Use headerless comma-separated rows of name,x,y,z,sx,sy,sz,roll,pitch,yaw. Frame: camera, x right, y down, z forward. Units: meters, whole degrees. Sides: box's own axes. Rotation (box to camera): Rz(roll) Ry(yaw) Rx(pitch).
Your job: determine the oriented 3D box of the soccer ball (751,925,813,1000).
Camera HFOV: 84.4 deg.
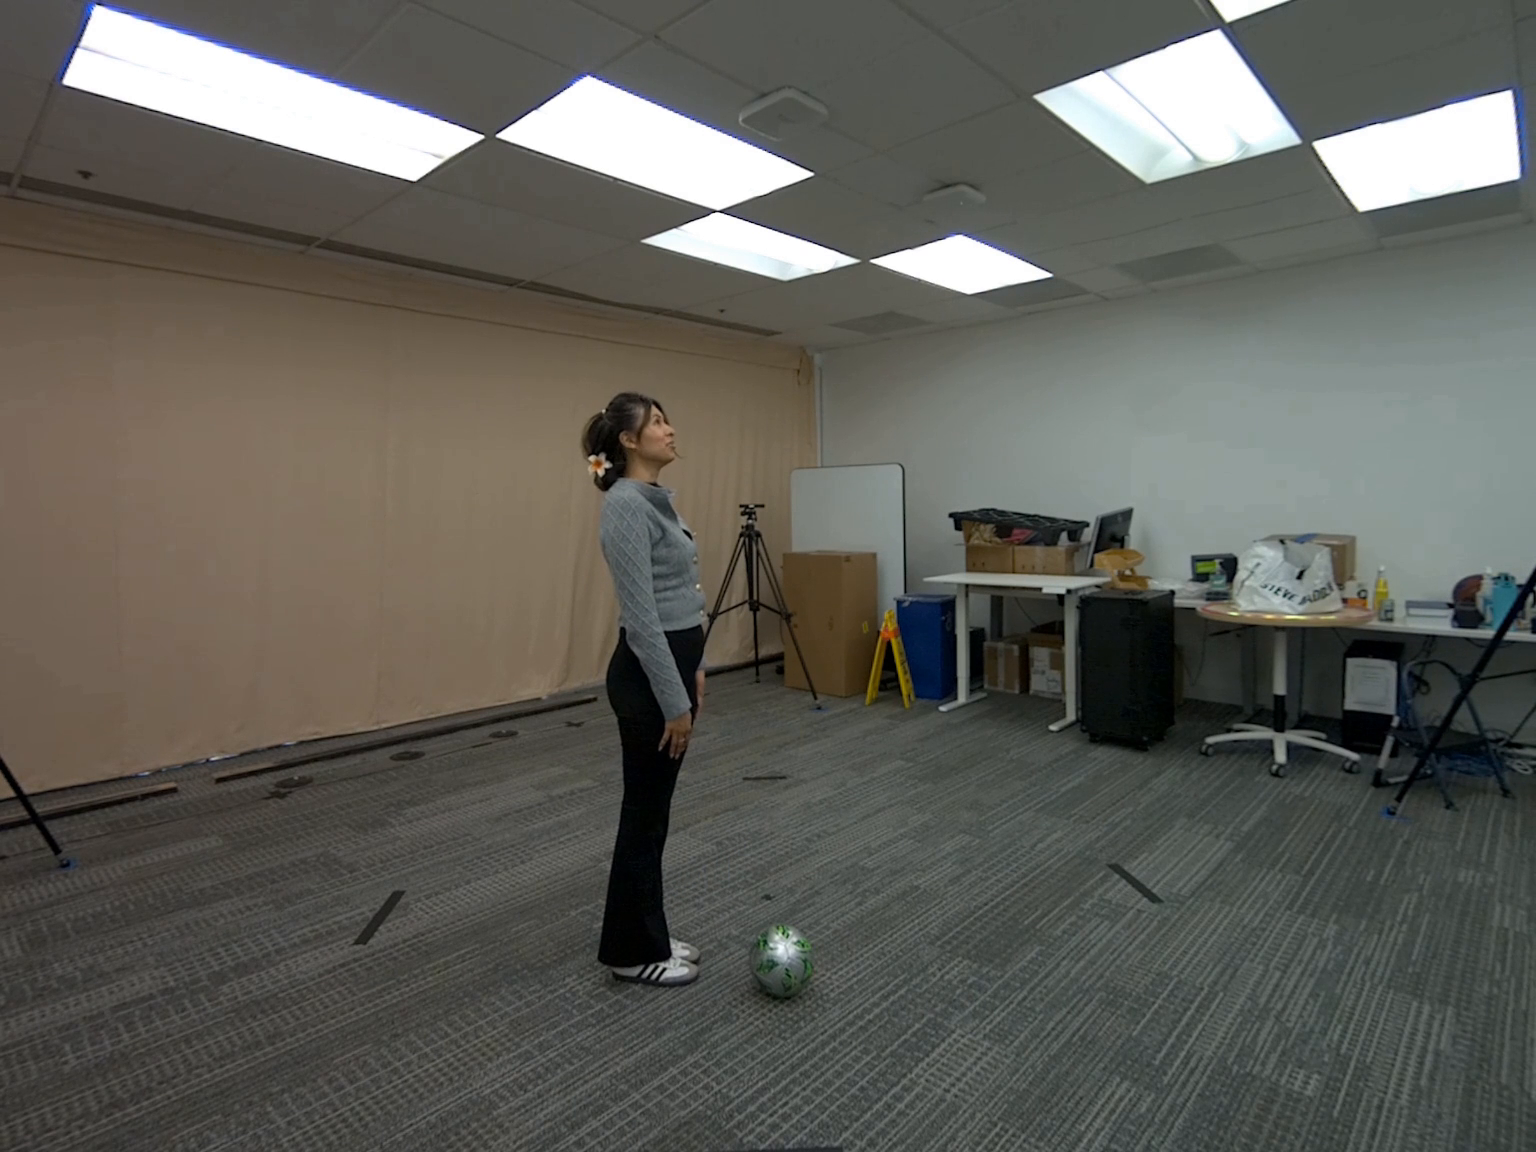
soccer ball,0.042,1.099,2.394,0.187,0.187,0.188,-1,4,-2
